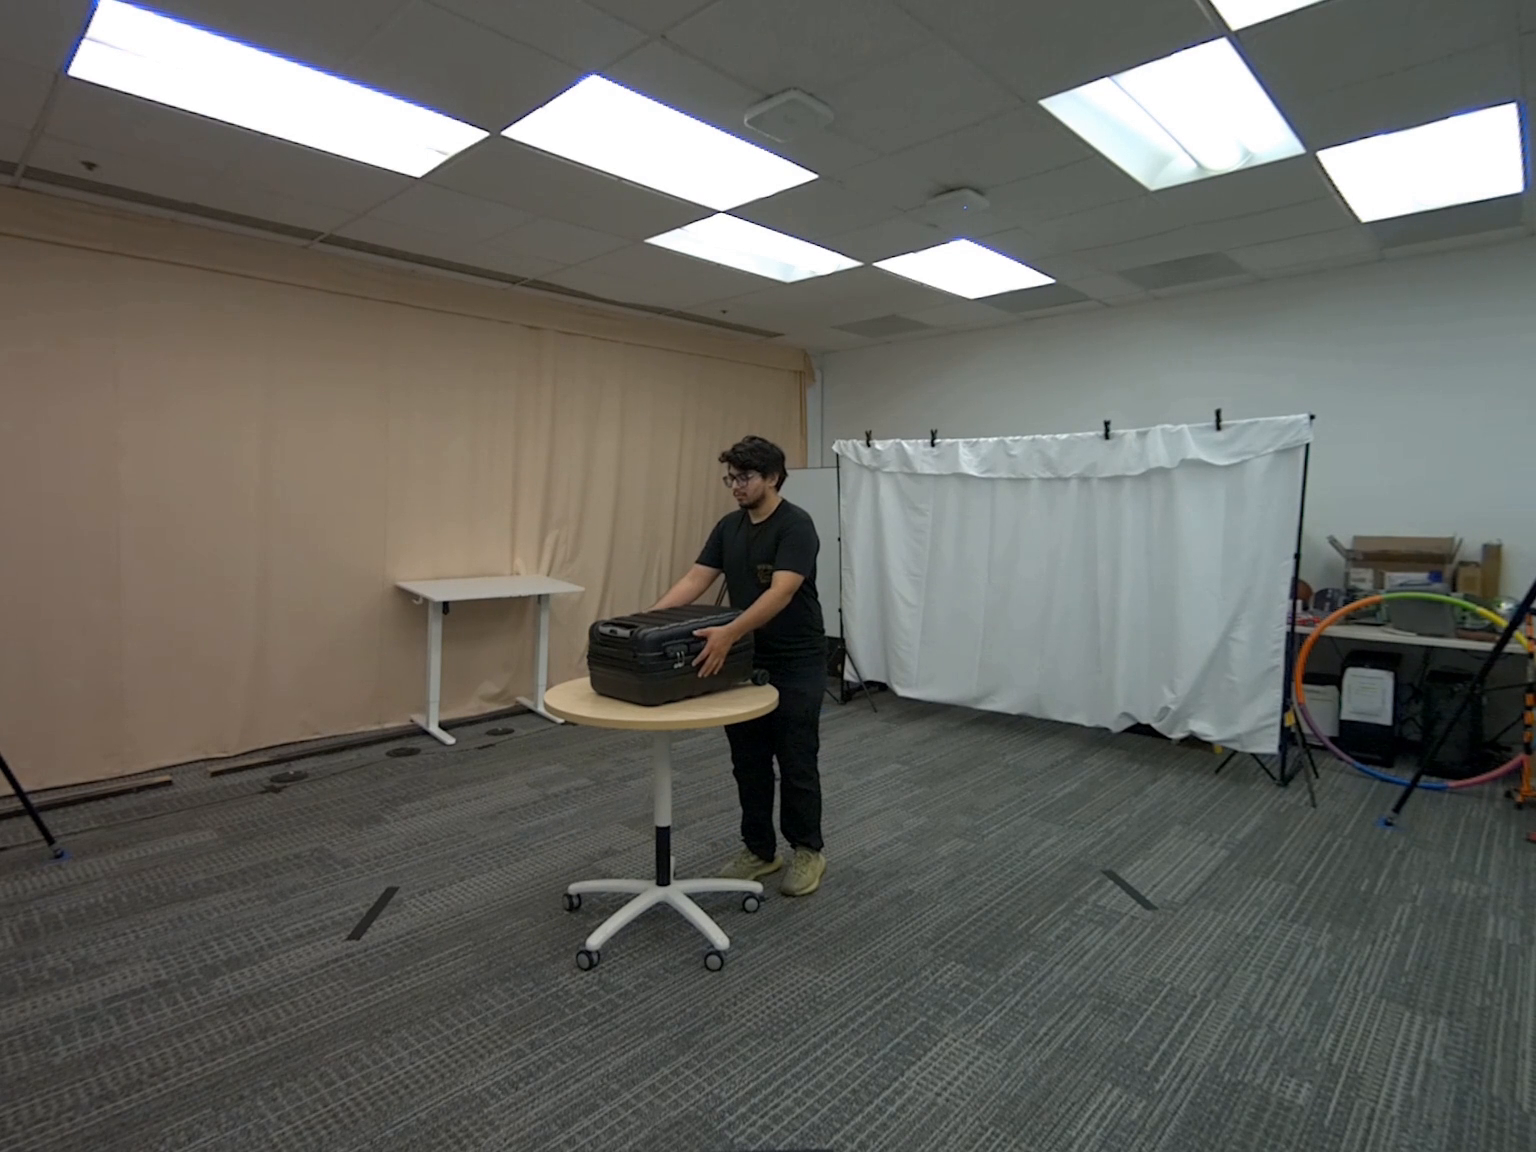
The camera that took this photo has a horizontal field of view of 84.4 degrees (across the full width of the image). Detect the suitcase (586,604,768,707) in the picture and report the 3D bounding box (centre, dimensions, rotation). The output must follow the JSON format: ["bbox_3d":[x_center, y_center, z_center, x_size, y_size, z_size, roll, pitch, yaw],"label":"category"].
[{"bbox_3d":[-0.312,0.257,2.795,0.388,0.247,0.533,6,9,43],"label":"suitcase"}]
